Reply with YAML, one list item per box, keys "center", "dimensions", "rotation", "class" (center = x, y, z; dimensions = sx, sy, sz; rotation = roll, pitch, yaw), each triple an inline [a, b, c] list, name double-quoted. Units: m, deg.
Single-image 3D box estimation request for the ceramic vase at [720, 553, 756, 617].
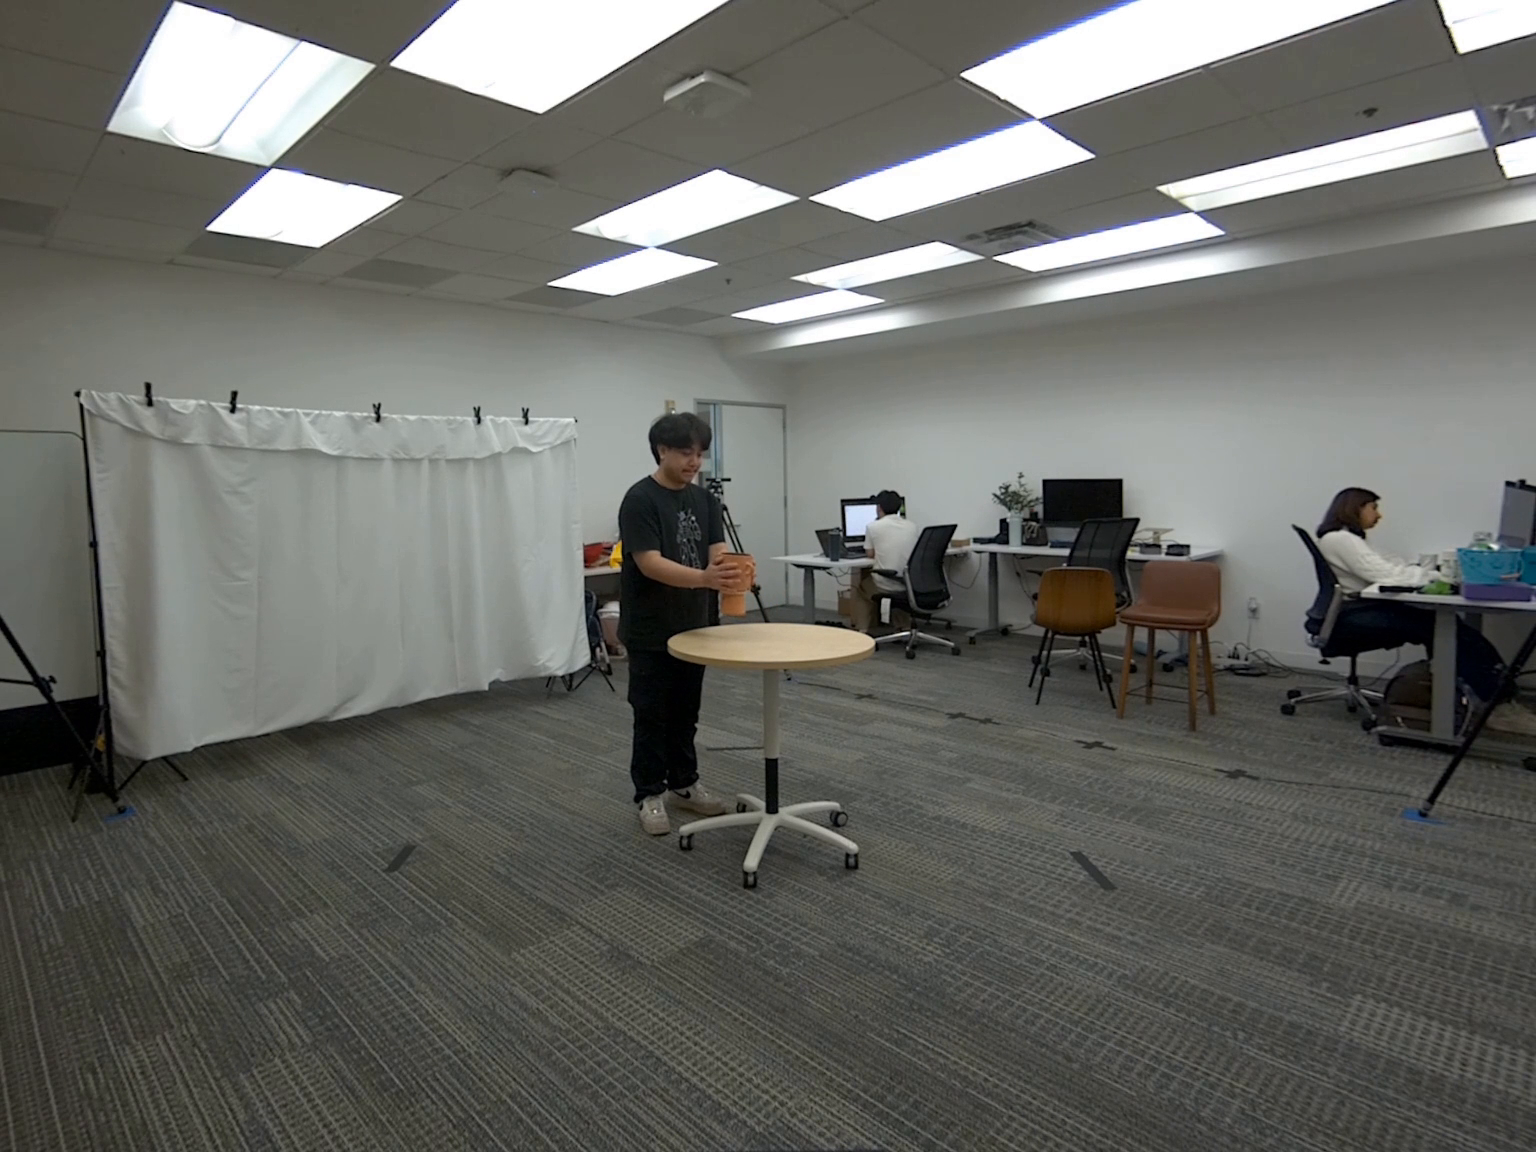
- center: [-0.125, 0.028, 3.177]
  dimensions: [0.134, 0.219, 0.160]
  rotation: [3, 4, -6]
  class: "ceramic vase"
